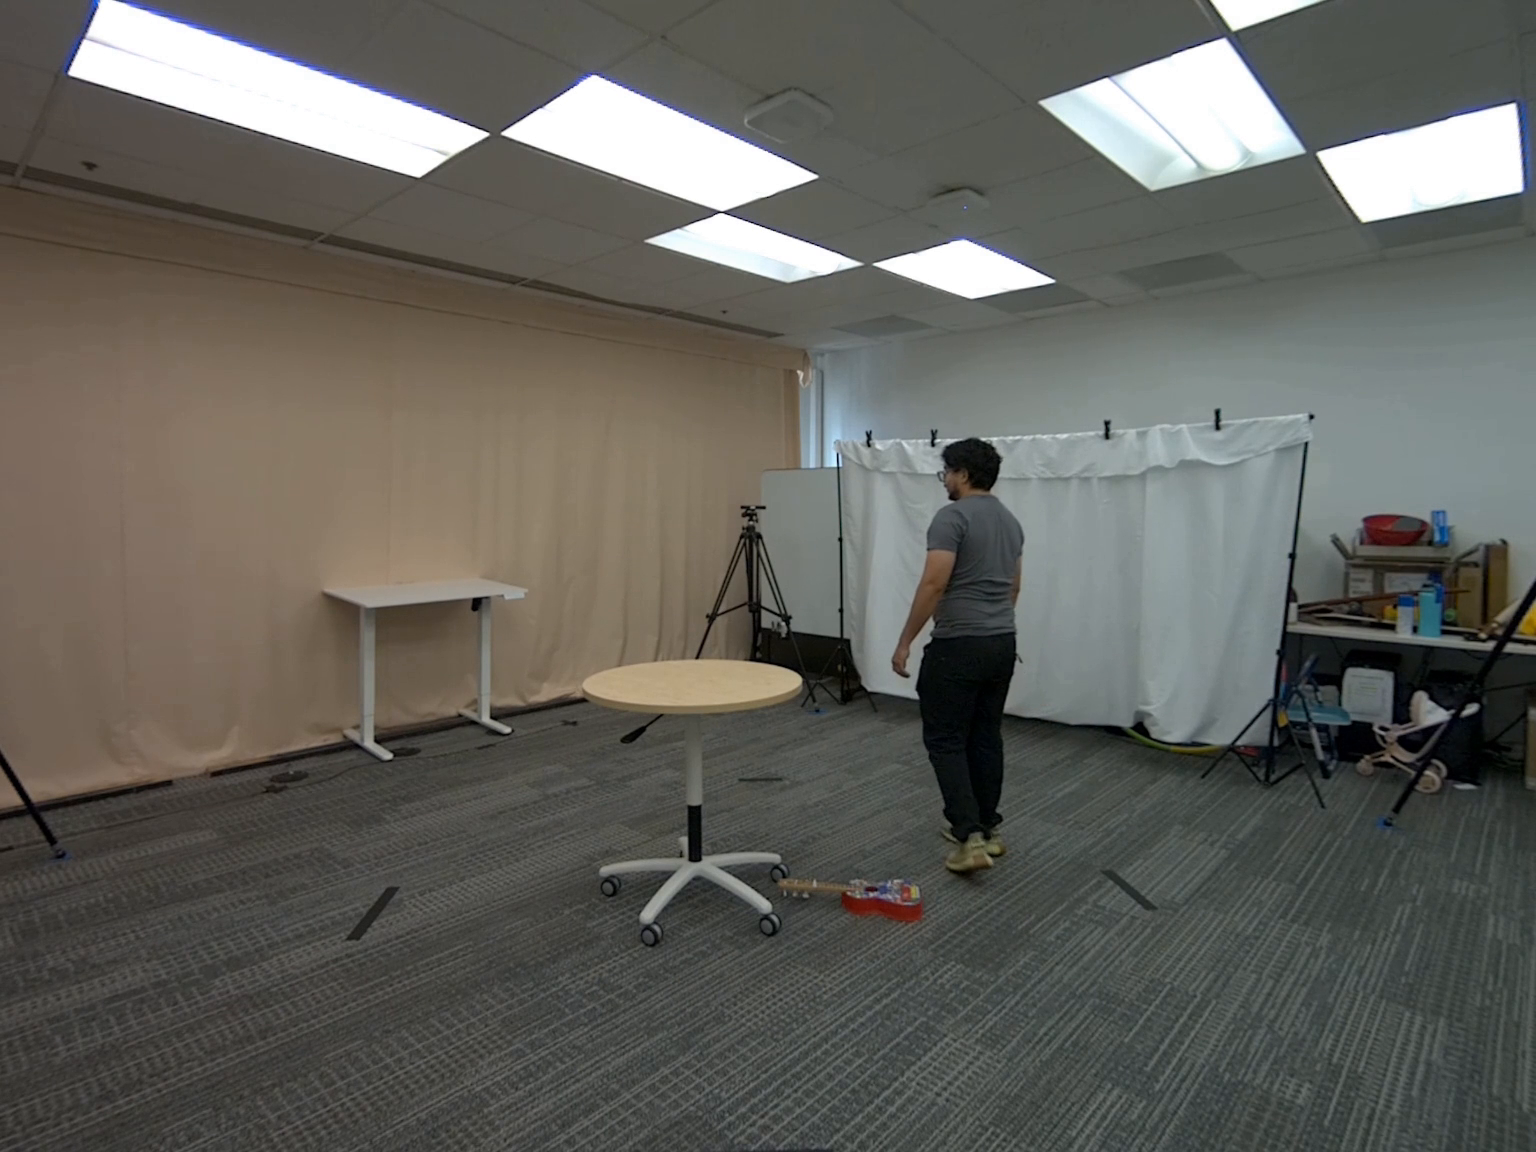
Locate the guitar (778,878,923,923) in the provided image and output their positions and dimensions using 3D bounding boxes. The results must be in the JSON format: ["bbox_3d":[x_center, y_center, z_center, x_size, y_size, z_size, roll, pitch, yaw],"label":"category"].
[{"bbox_3d":[0.289,1.104,2.962,0.507,0.070,0.190,2,5,18],"label":"guitar"}]
